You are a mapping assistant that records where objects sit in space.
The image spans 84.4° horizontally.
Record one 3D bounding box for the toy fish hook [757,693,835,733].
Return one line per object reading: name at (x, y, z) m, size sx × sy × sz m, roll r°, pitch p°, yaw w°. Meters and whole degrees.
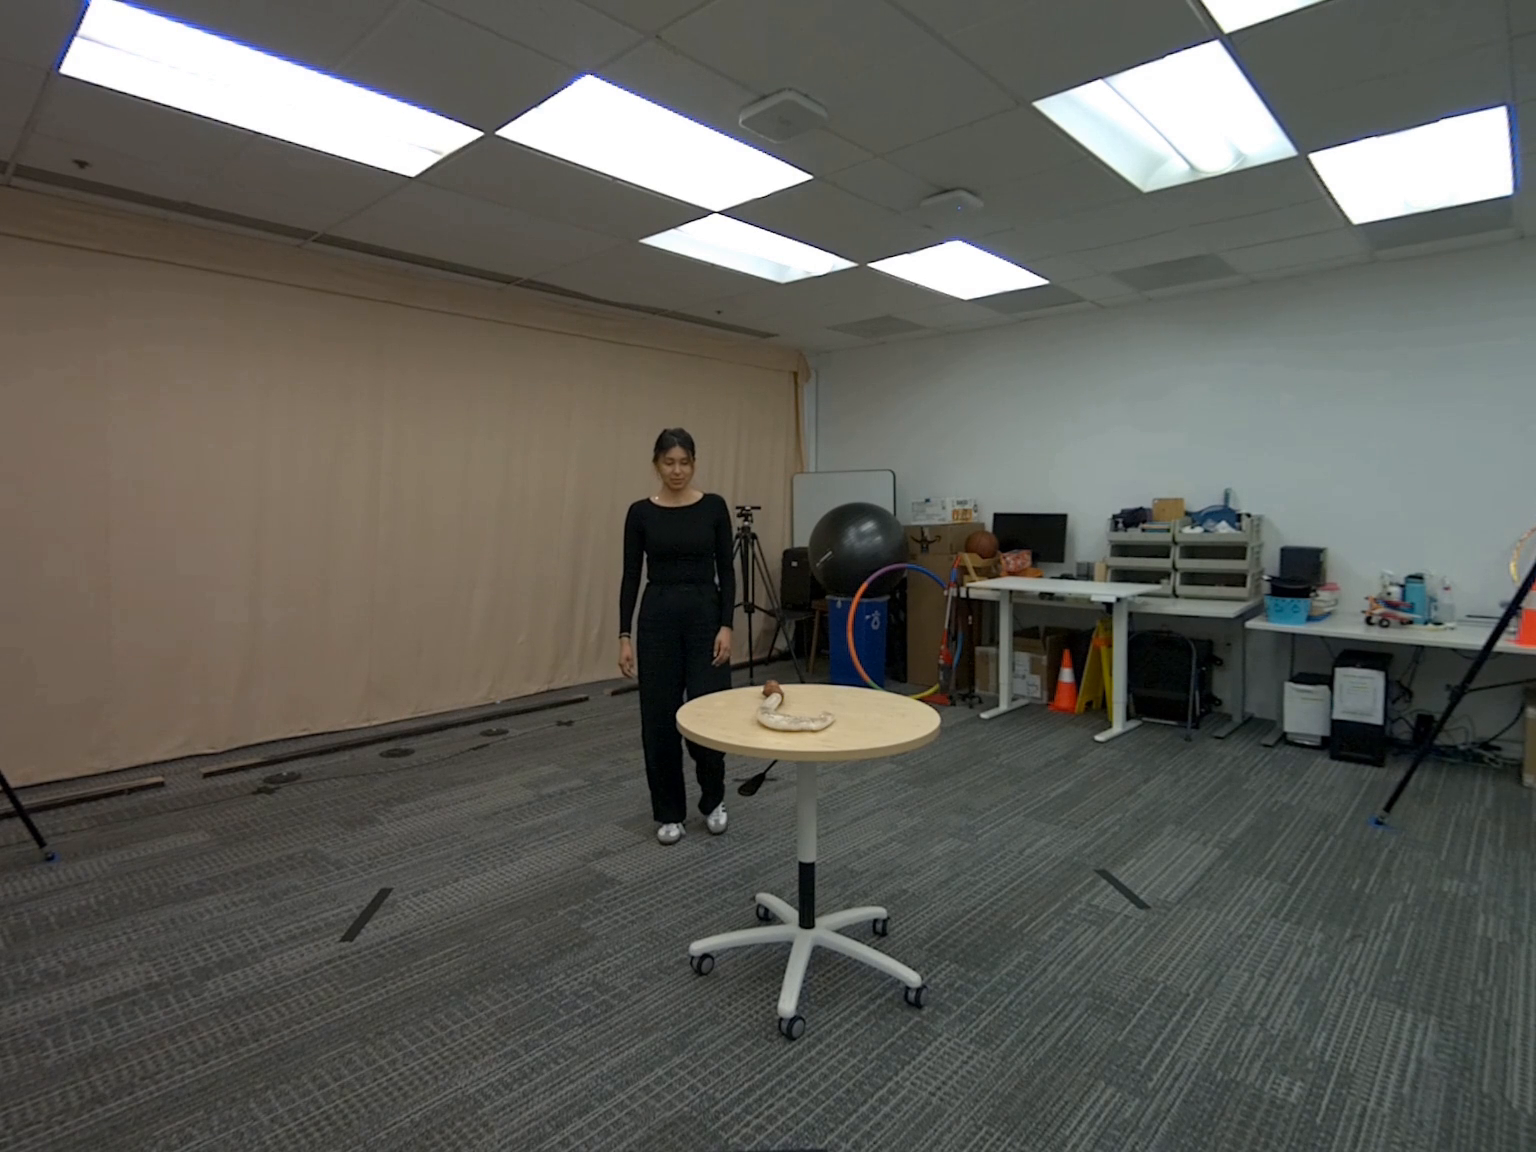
toy fish hook at (0.080, 0.389, 2.507) m, size 0.224 × 0.048 × 0.508 m, roll 7°, pitch 6°, yaw -3°
